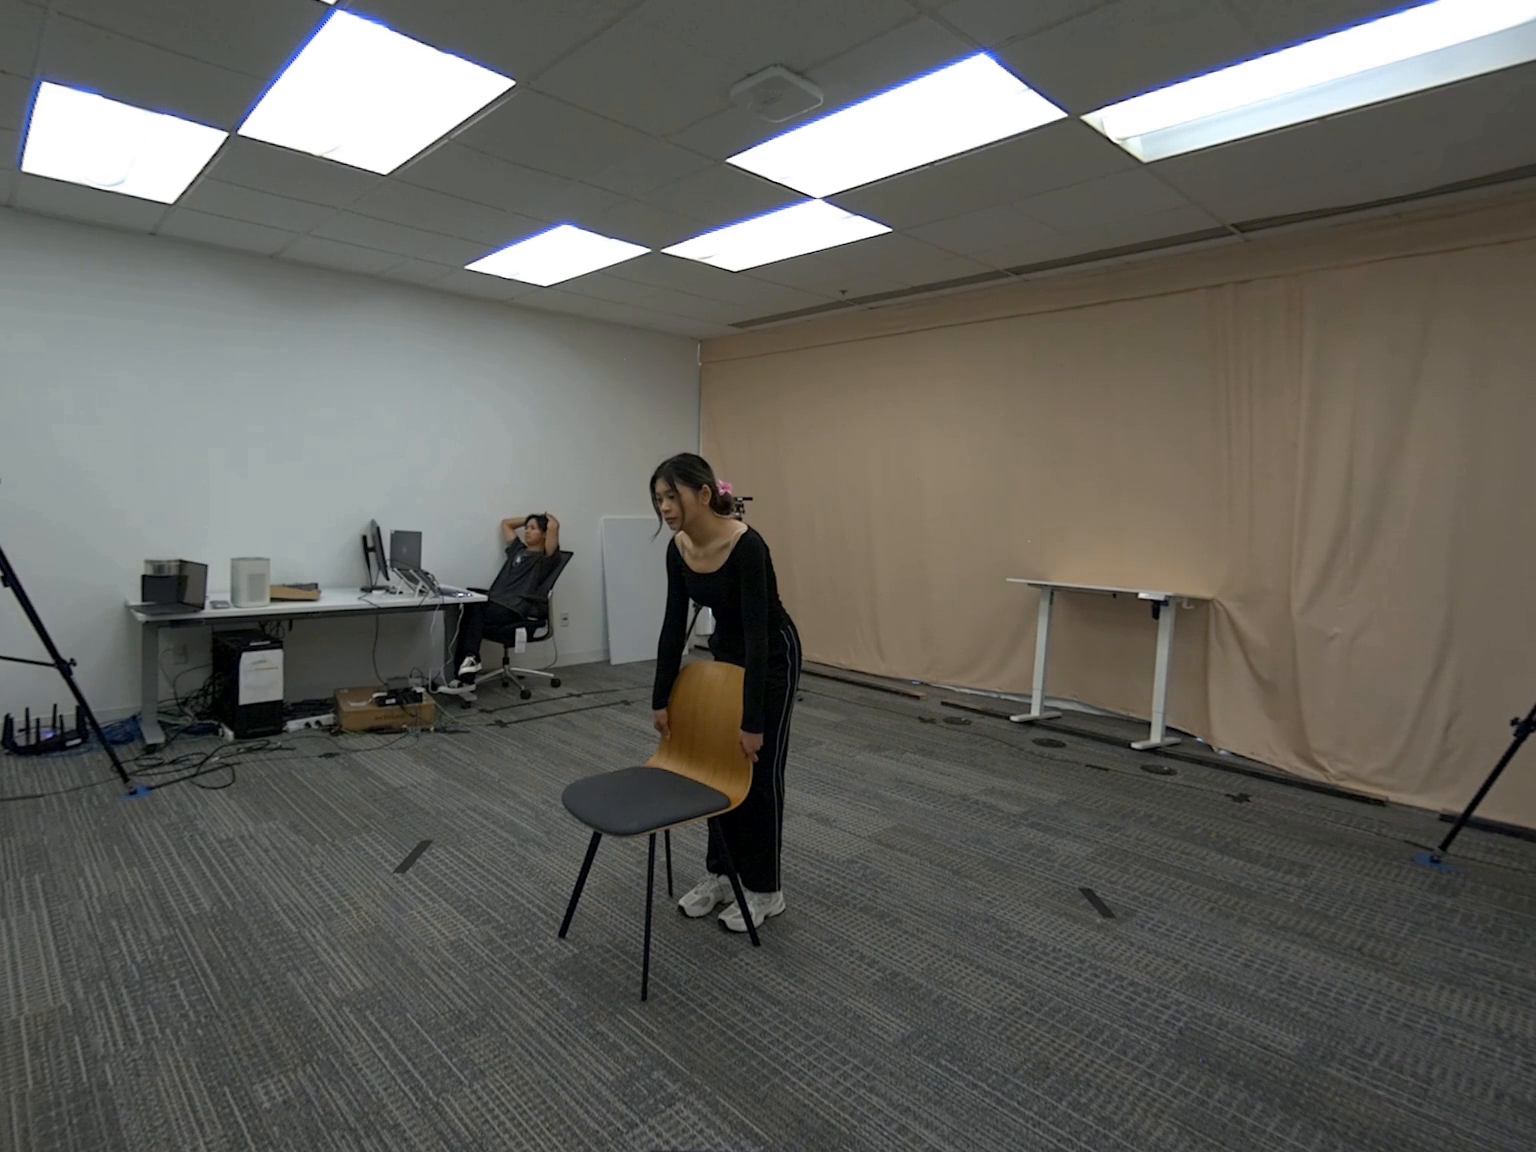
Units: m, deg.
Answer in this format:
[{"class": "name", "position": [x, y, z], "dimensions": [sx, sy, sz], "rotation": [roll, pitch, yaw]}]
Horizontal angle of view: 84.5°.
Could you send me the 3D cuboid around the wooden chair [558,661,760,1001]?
[{"class": "wooden chair", "position": [-0.340, 0.722, 2.592], "dimensions": [0.510, 0.877, 0.490], "rotation": [5, 0, -44]}]
